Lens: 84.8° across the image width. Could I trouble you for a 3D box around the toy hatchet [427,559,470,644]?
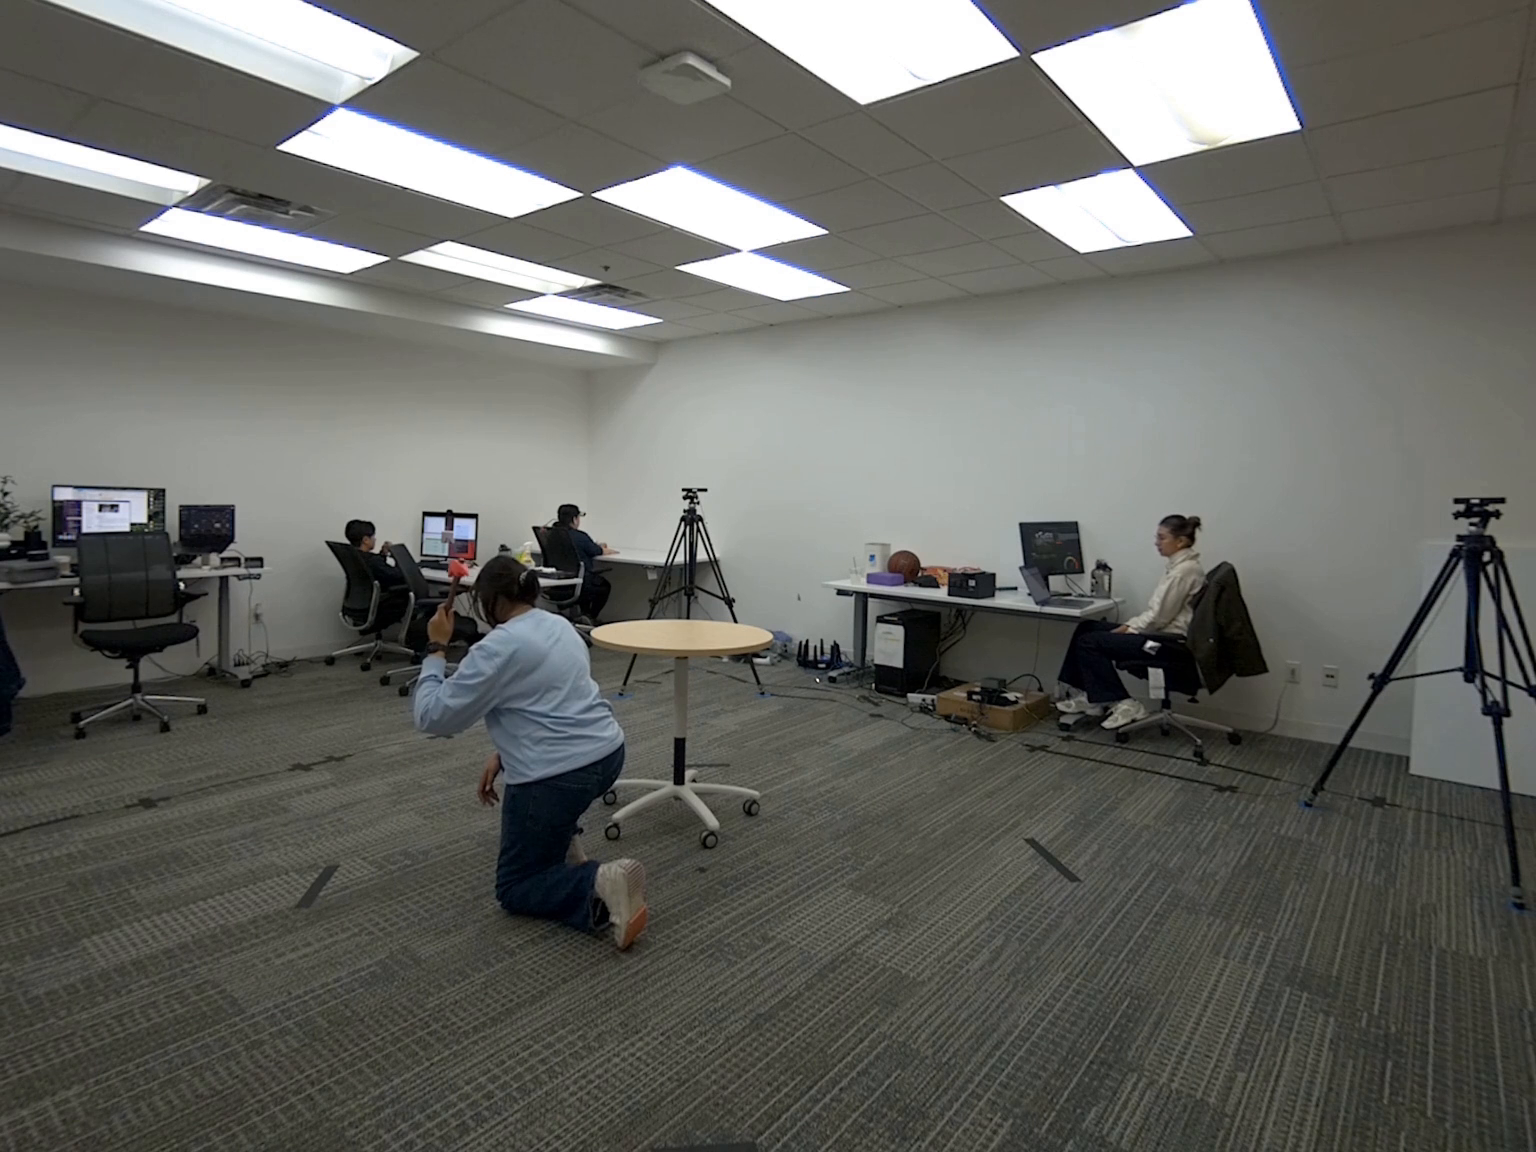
[{"bbox_3d":[-1.067,0.052,2.774,0.028,0.269,0.136,13,30,-41],"label":"toy hatchet"}]
